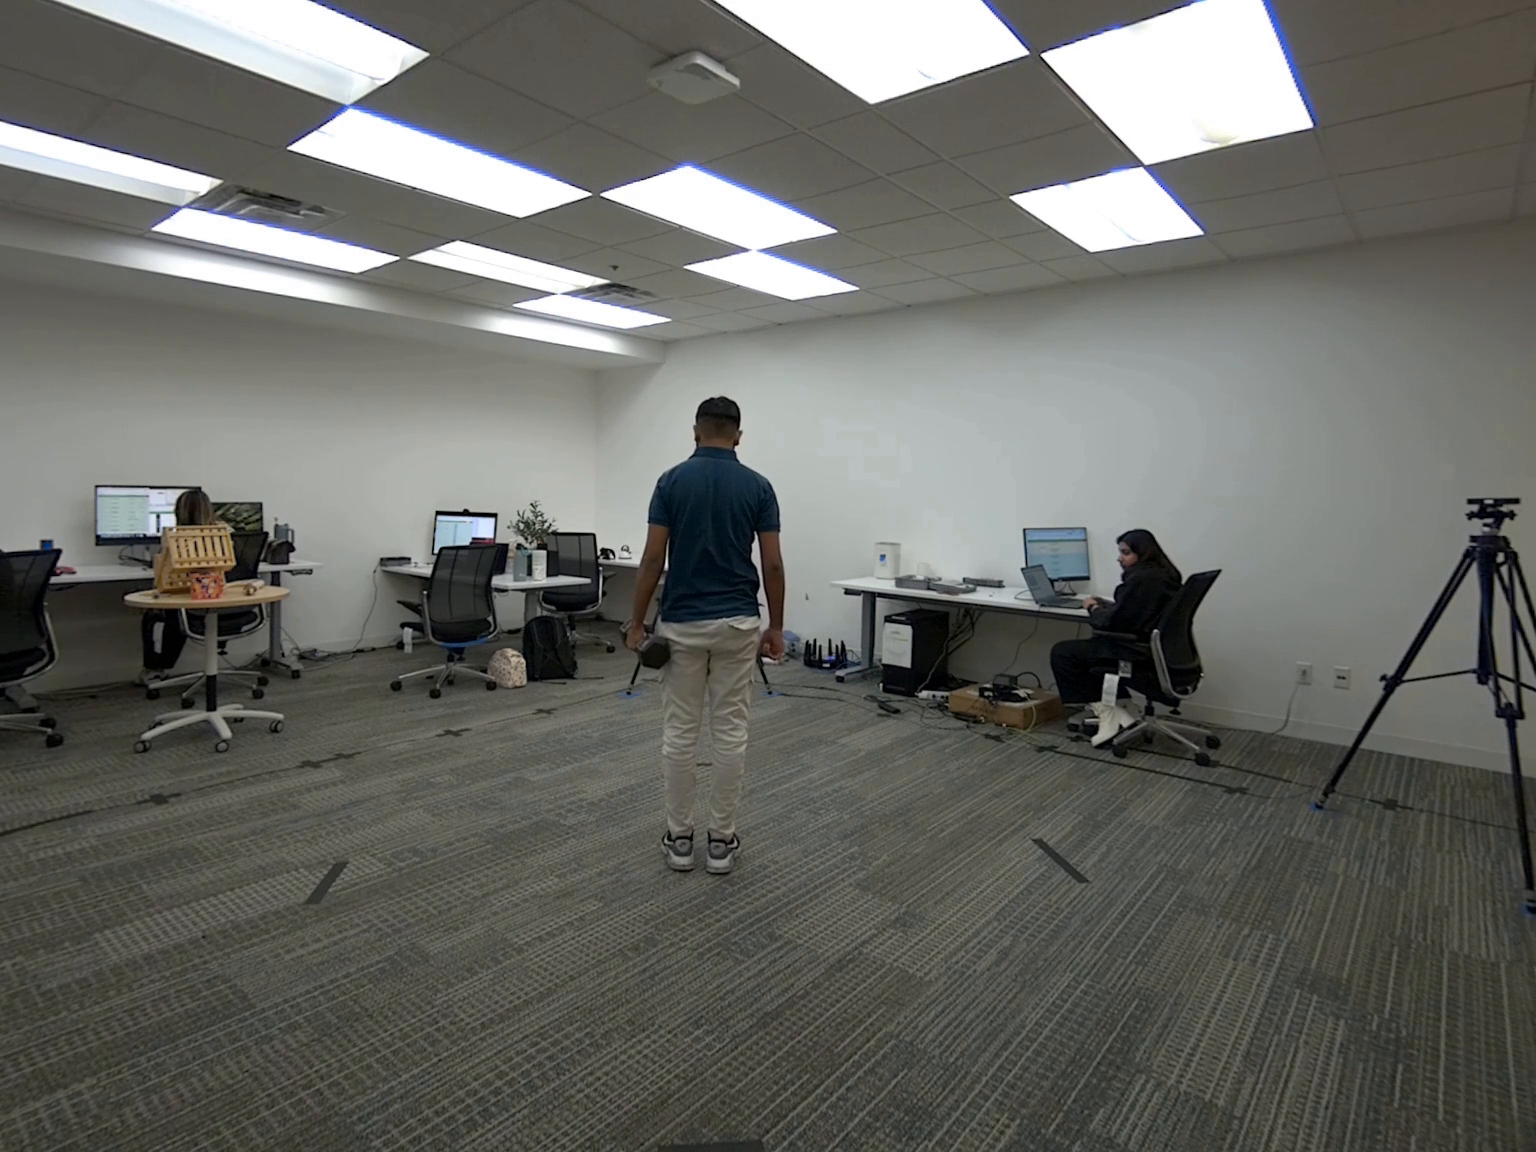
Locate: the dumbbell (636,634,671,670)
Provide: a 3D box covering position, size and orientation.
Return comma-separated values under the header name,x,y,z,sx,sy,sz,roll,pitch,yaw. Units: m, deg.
name,x,y,z,sx,sy,sz,roll,pitch,yaw
dumbbell,-0.465,0.244,3.171,0.107,0.121,0.303,-15,19,-21
